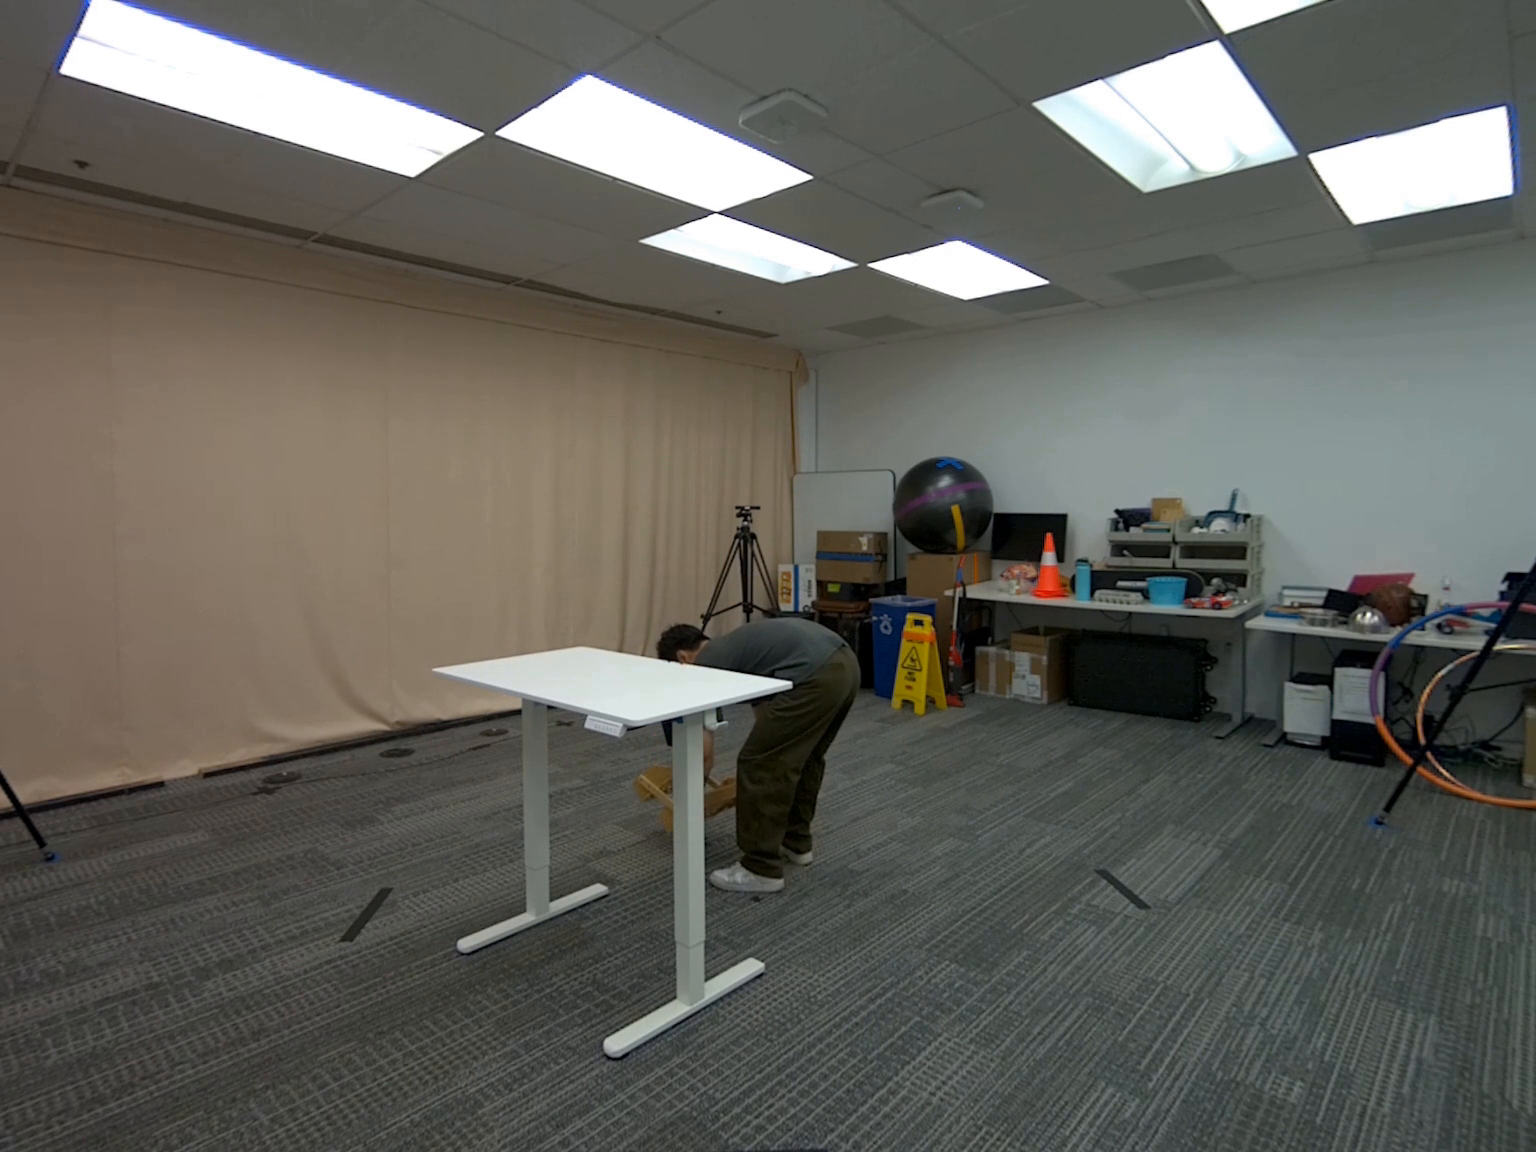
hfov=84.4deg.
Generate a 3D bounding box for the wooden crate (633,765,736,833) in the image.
[{"bbox_3d":[-0.318,0.862,3.484,0.305,0.279,0.314,-41,-23,26],"label":"wooden crate"}]
